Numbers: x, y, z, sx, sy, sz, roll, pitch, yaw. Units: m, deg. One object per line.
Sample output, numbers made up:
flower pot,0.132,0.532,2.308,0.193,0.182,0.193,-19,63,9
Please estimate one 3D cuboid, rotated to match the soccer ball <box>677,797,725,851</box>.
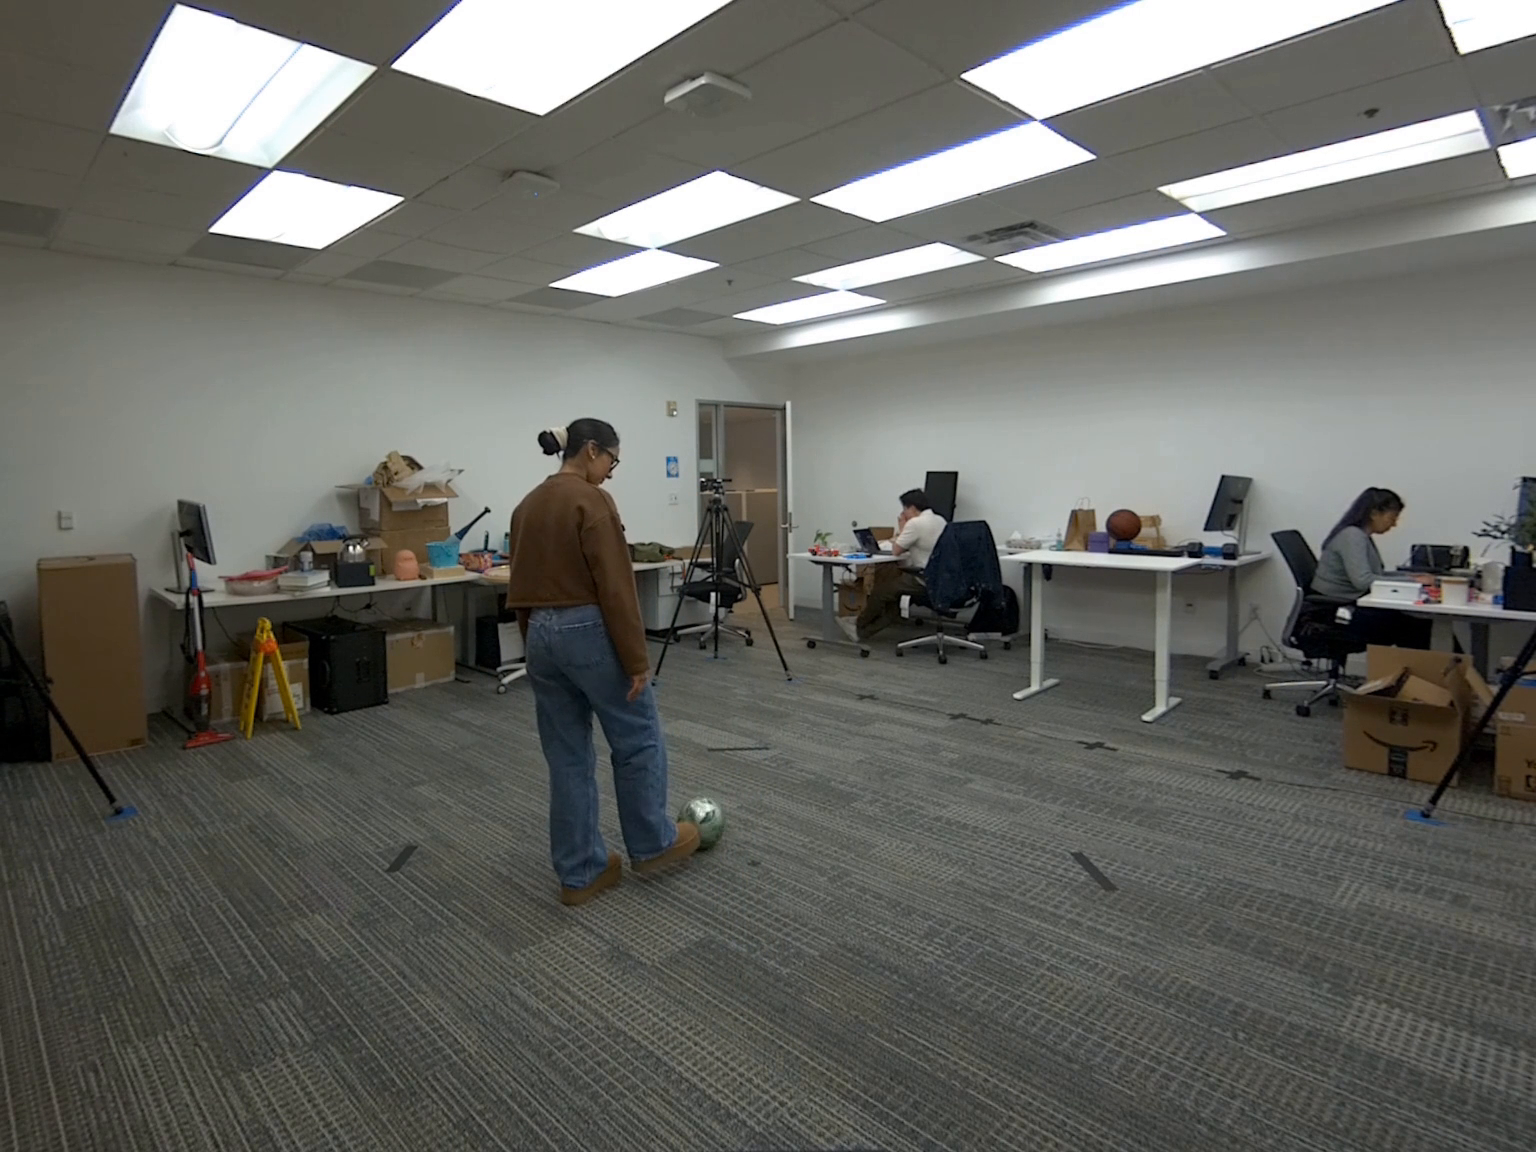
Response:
soccer ball,-0.248,0.938,3.244,0.187,0.187,0.188,-1,5,-2
